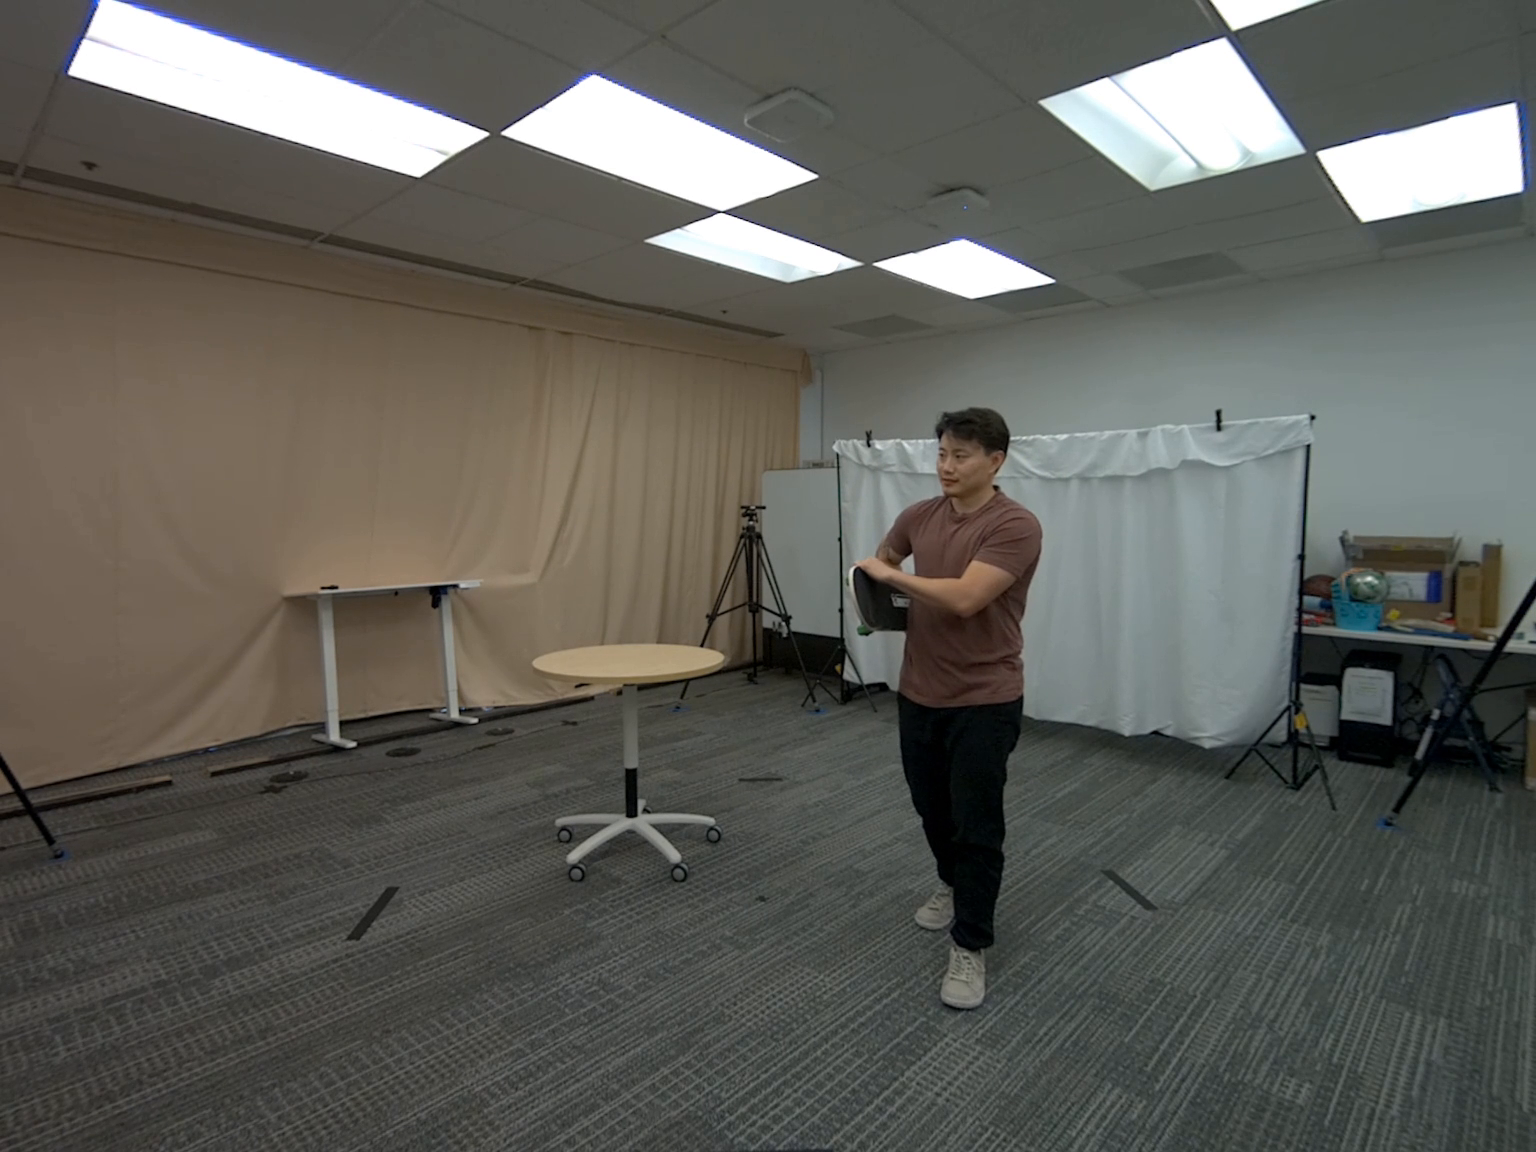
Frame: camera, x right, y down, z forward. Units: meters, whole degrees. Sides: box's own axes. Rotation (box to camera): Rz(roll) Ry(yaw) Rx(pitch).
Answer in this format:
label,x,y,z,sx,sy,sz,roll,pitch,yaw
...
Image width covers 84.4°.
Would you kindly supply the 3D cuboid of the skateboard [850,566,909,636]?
label,x,y,z,sx,sy,sz,roll,pitch,yaw
skateboard,0.410,0.096,2.674,0.112,0.196,0.760,-21,-15,30
